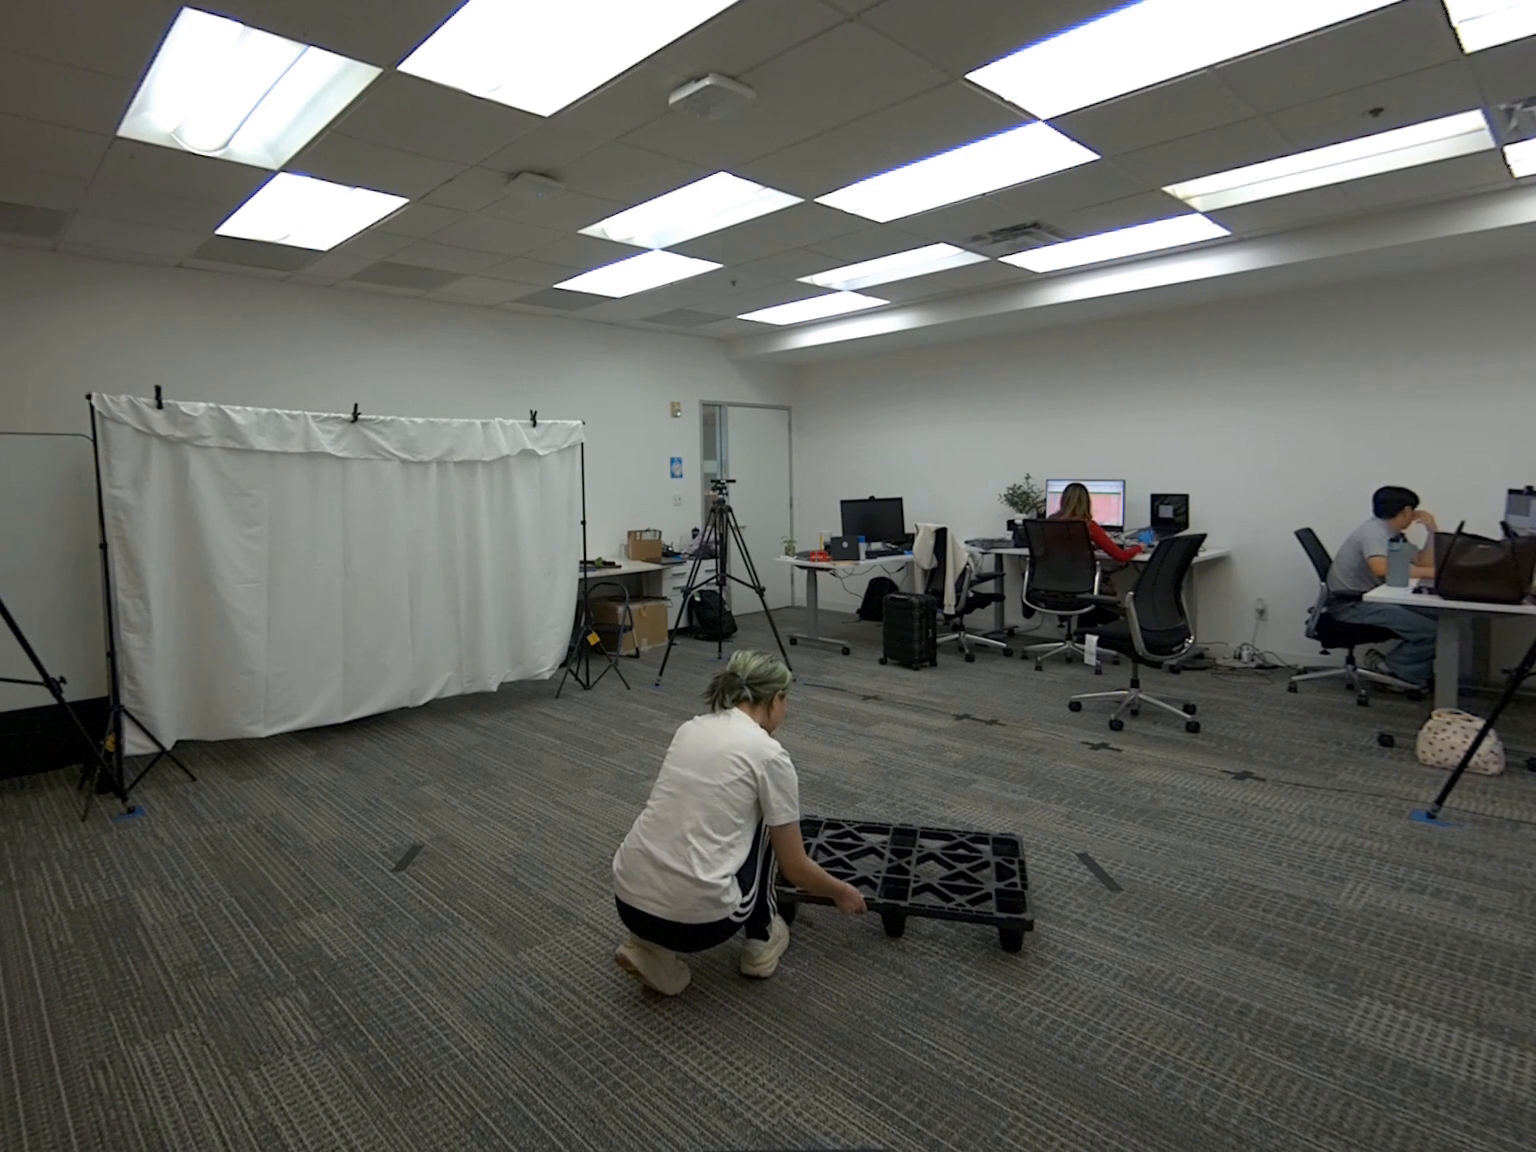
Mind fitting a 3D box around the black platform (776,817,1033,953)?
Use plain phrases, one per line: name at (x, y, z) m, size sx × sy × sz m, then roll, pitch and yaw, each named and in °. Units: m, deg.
black platform at (0.439, 1.003, 2.828) m, size 0.818 × 0.143 × 0.598 m, roll 1°, pitch 6°, yaw 15°
